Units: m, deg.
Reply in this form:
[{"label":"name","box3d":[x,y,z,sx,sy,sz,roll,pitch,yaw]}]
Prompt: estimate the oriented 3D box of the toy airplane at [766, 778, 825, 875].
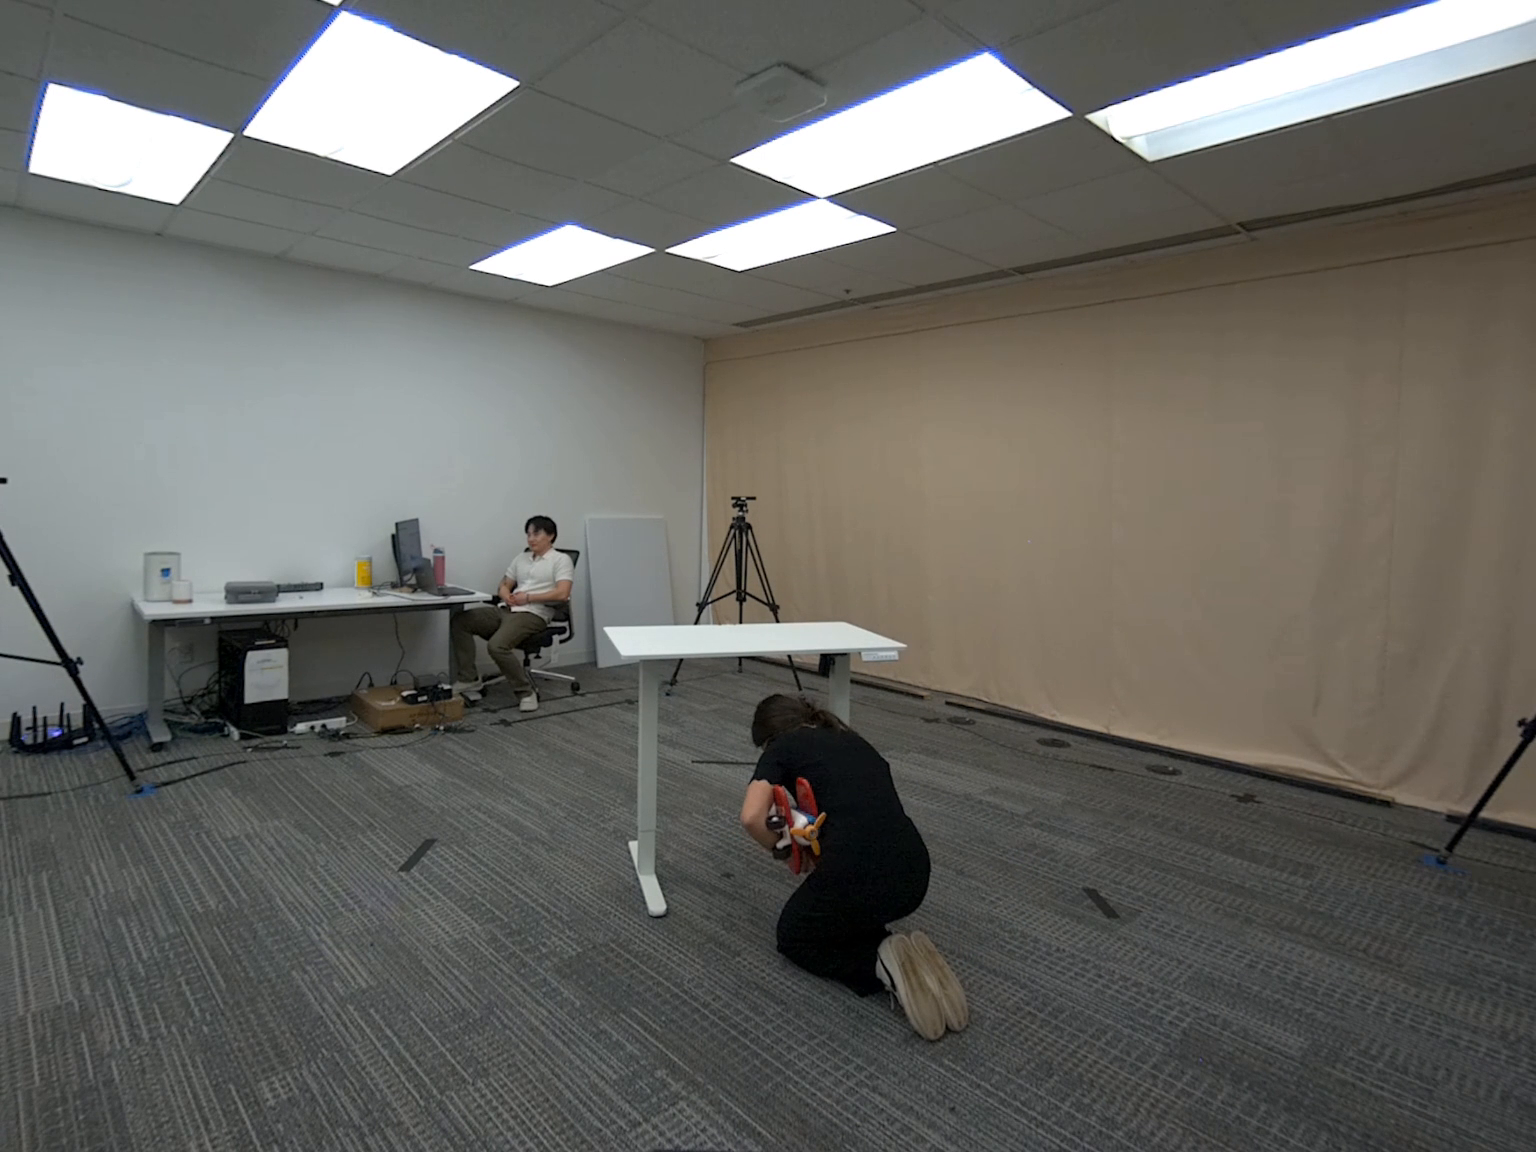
[{"label":"toy airplane","box3d":[0.050,0.707,2.470,0.155,0.247,0.265,-6,26,-10]}]
